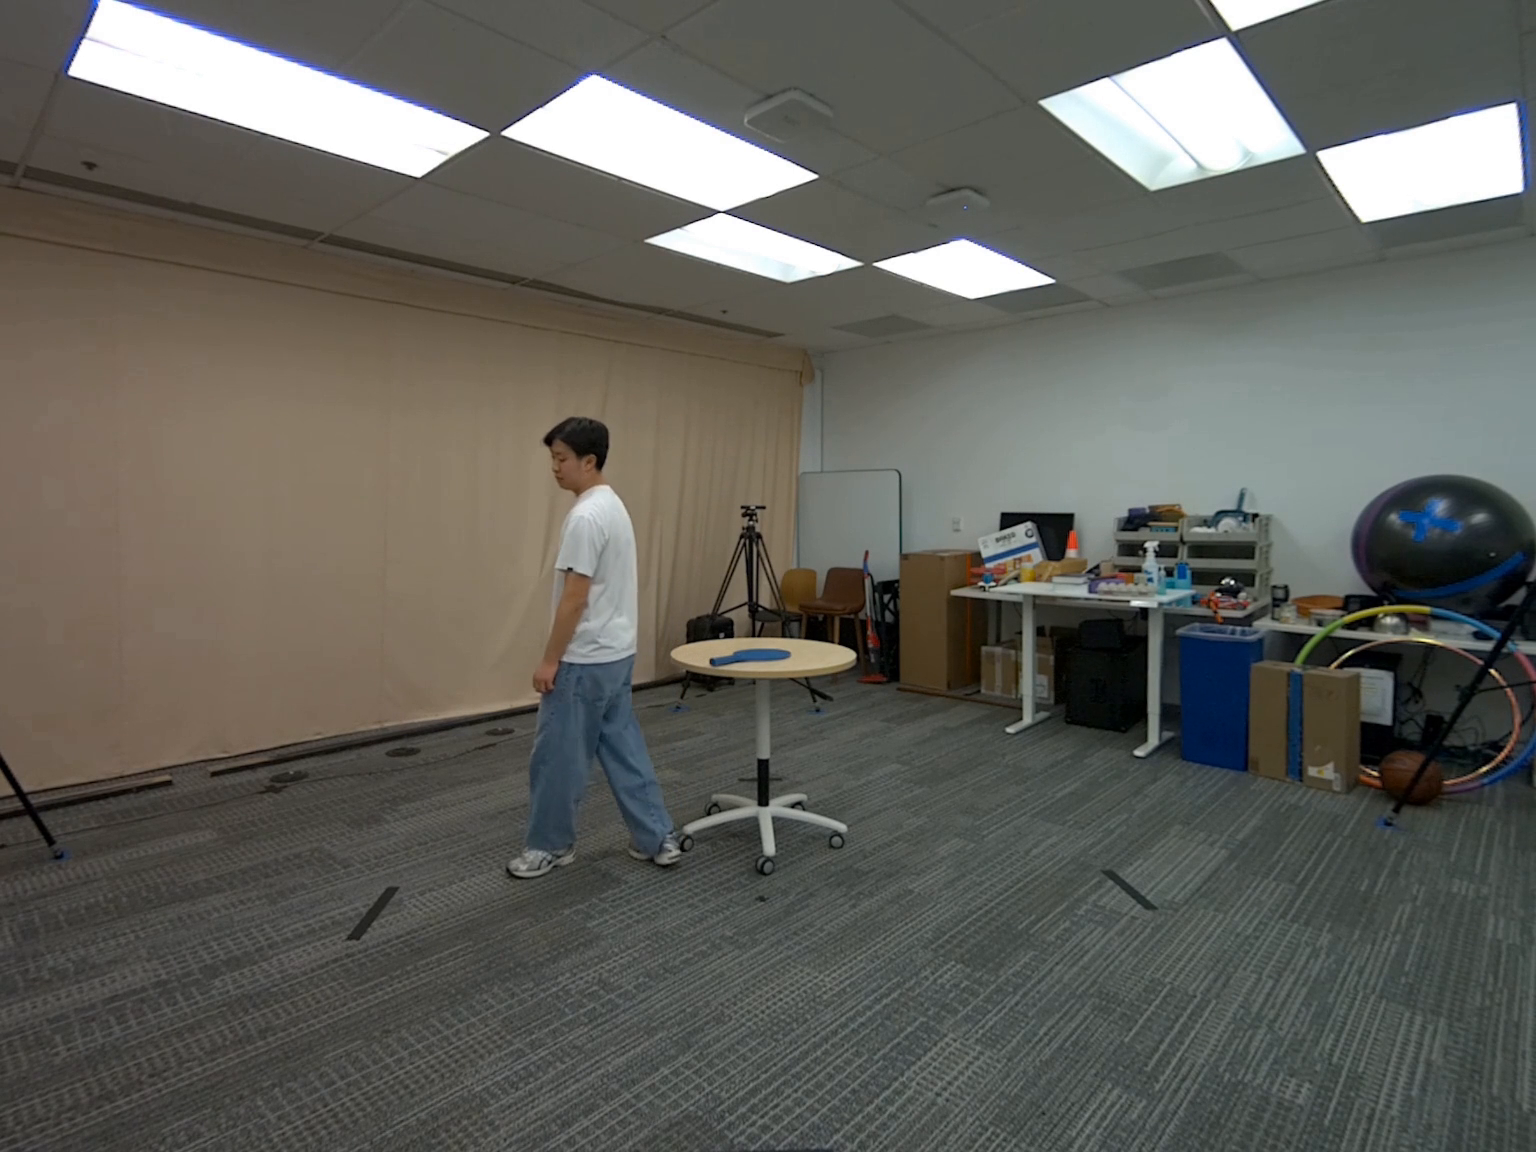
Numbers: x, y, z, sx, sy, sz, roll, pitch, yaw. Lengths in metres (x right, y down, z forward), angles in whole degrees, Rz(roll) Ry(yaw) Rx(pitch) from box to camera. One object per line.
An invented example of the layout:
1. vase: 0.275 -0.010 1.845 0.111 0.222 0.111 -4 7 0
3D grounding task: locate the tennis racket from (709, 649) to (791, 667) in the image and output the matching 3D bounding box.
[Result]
1. tennis racket: -0.080 0.322 3.346 0.221 0.032 0.419 5 5 42
